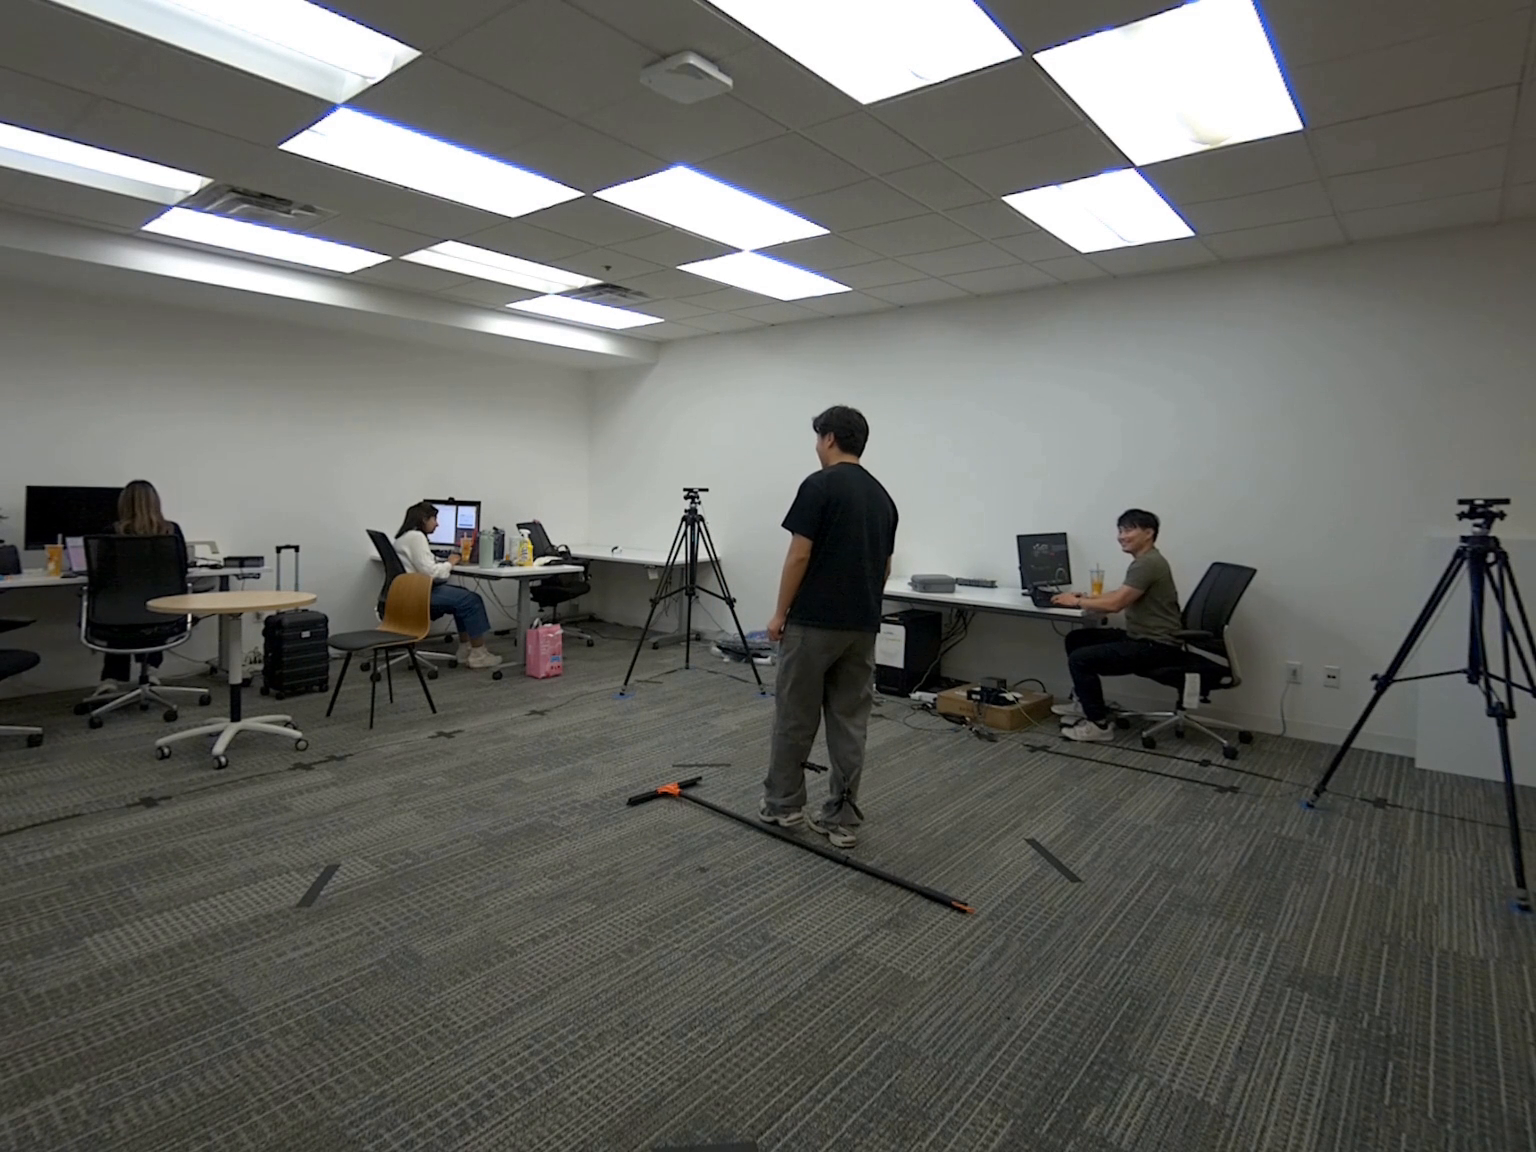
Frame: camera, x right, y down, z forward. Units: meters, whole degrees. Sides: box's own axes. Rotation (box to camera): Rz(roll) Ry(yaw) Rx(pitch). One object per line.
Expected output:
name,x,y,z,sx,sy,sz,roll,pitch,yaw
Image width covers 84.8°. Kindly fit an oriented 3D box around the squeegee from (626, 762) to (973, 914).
squeegee,0.083,1.021,3.349,1.592,0.052,0.425,8,10,42
